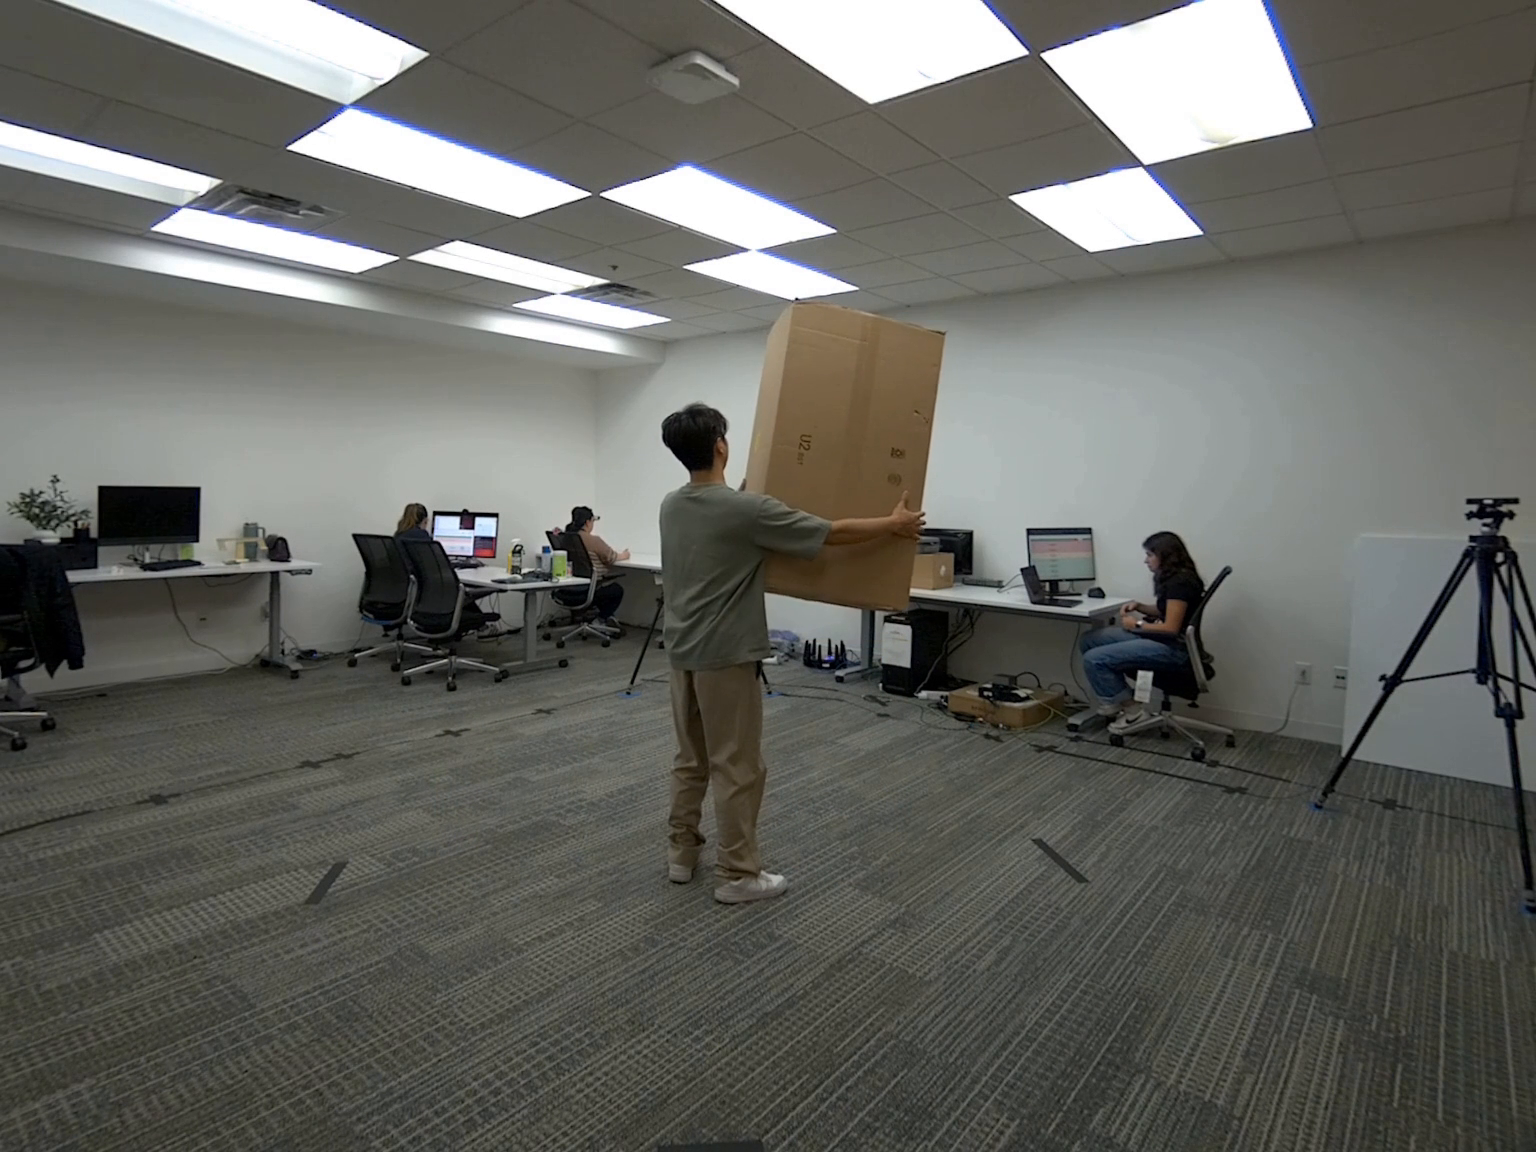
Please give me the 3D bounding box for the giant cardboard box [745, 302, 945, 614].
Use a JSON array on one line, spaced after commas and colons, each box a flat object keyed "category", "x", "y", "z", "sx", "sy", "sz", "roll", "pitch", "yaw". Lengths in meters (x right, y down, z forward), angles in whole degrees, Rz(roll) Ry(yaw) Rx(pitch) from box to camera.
[{"category": "giant cardboard box", "x": 0.238, "y": -0.421, "z": 3.173, "sx": 0.571, "sy": 1.030, "sz": 0.429, "roll": 10, "pitch": -5, "yaw": -10}]
